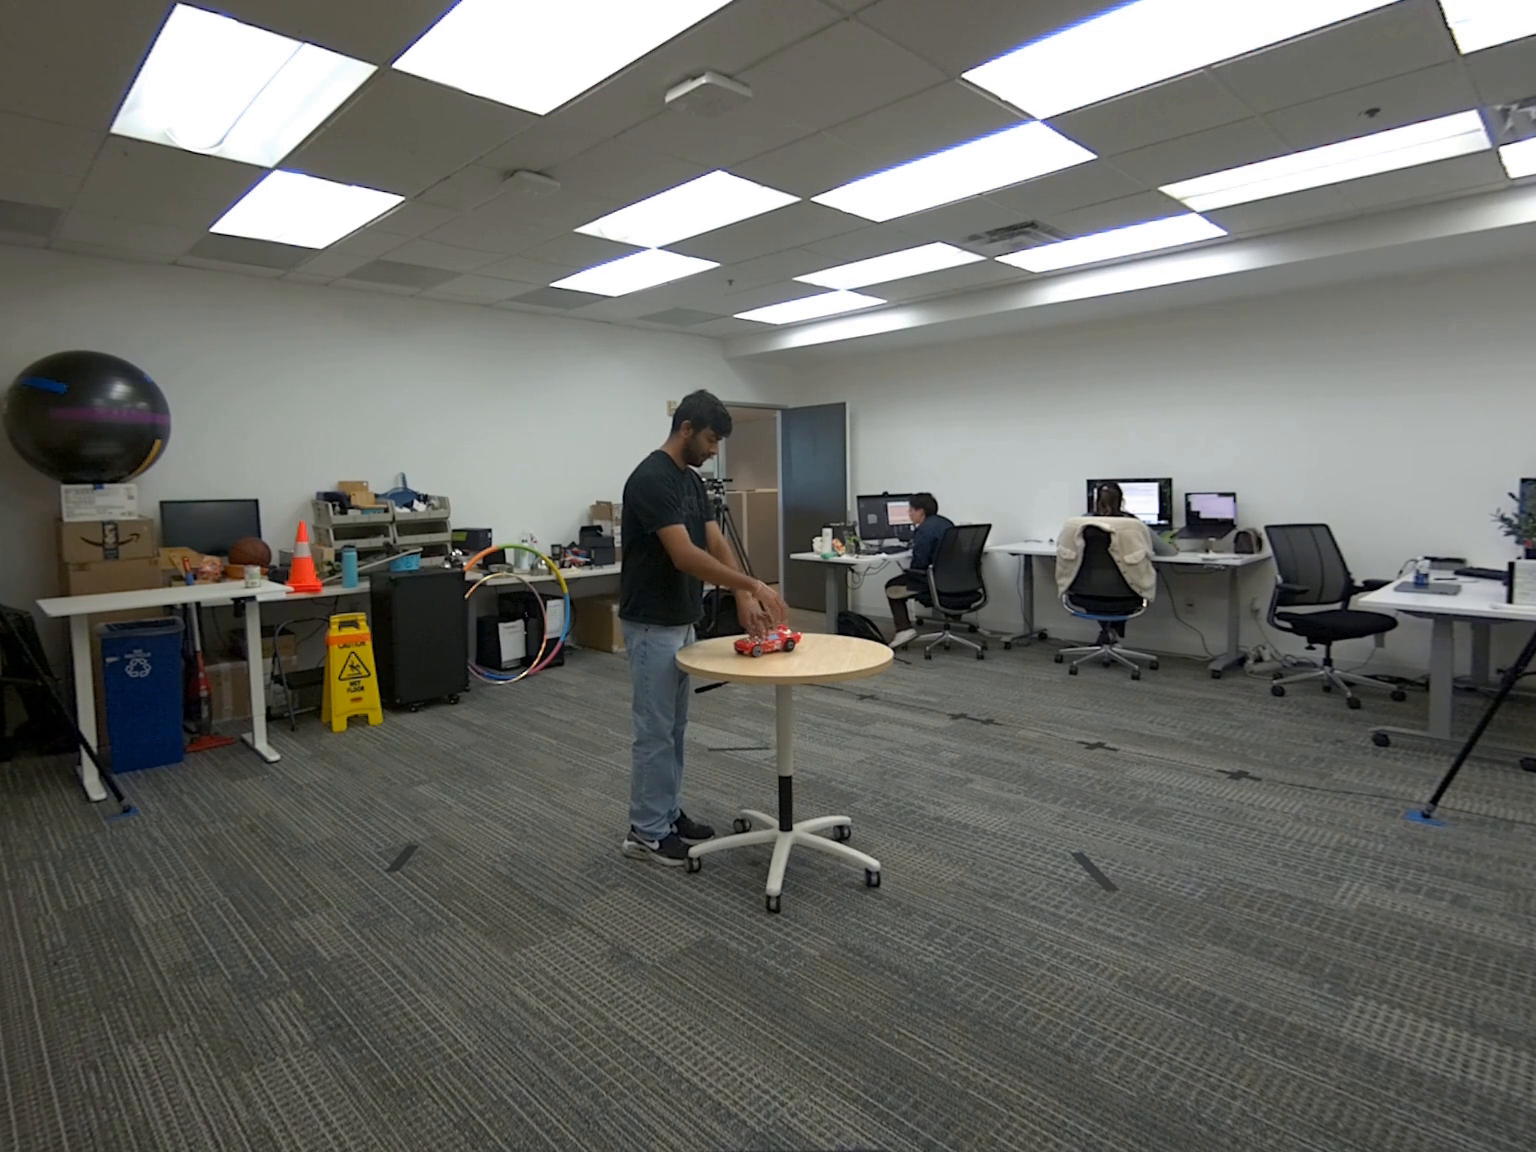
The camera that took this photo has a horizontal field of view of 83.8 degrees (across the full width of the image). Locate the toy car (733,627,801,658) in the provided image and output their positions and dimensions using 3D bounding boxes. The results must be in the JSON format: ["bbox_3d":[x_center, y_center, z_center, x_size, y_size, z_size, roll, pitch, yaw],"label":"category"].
[{"bbox_3d":[0.003,0.236,3.035,0.250,0.082,0.134,-19,14,-33],"label":"toy car"}]
